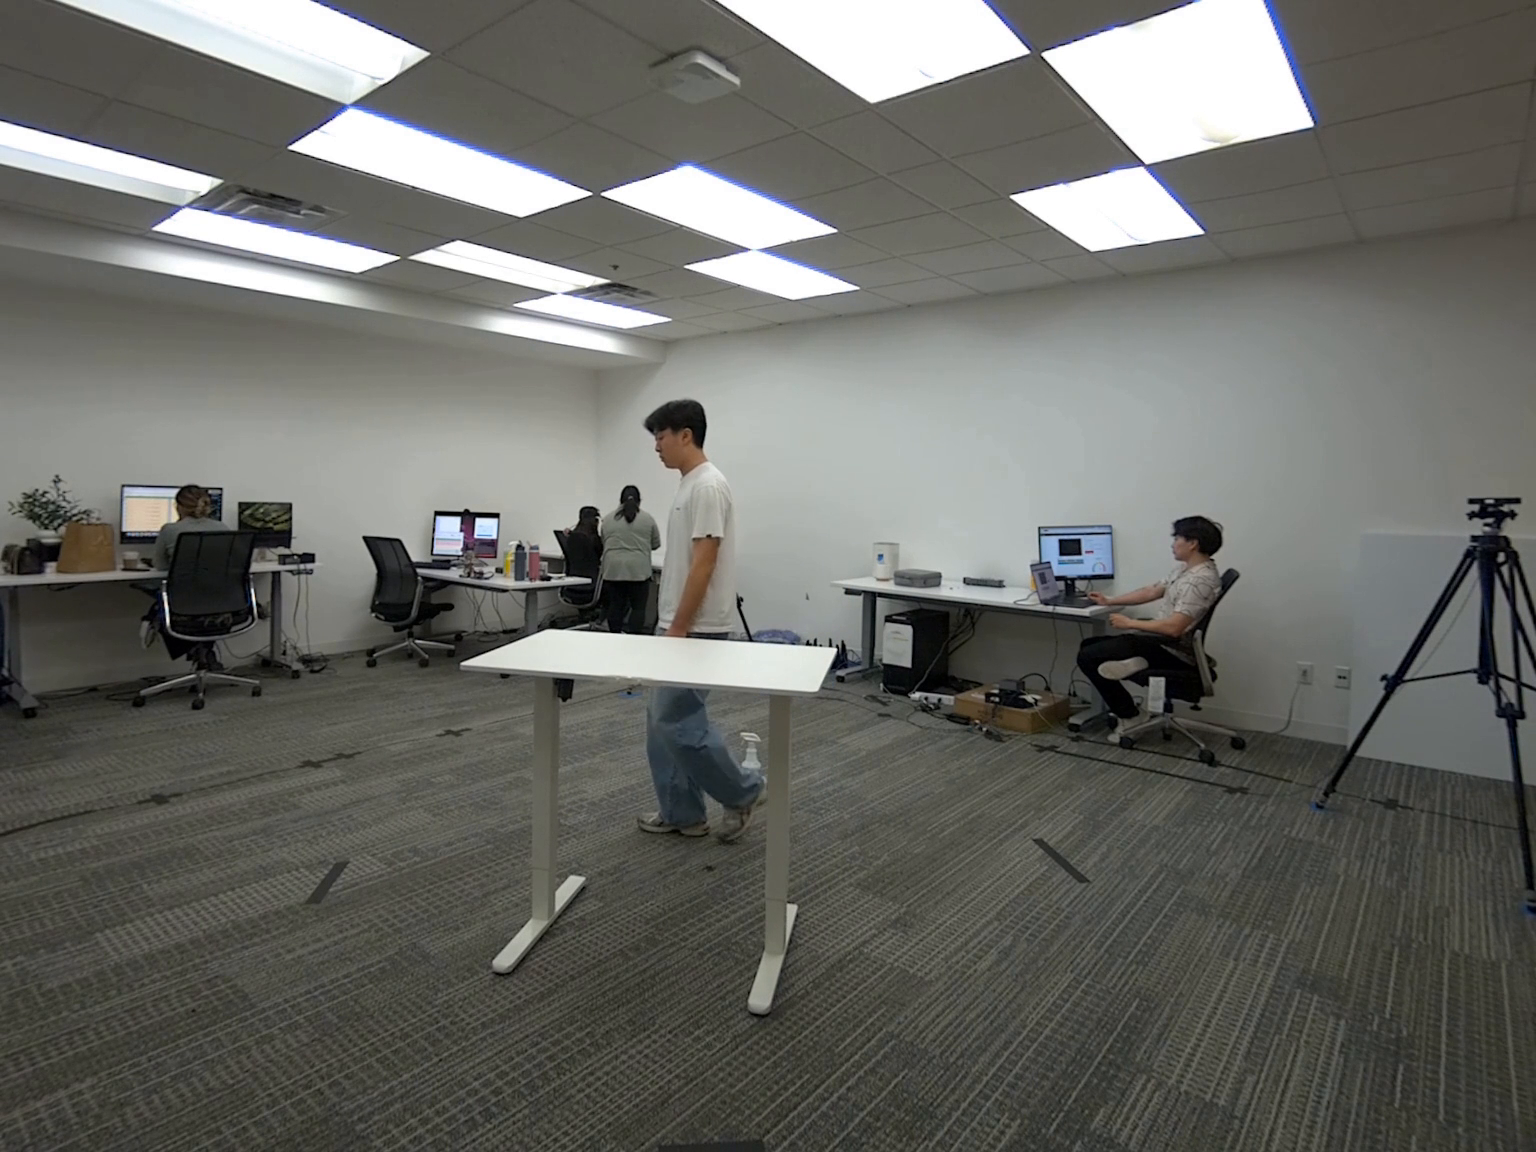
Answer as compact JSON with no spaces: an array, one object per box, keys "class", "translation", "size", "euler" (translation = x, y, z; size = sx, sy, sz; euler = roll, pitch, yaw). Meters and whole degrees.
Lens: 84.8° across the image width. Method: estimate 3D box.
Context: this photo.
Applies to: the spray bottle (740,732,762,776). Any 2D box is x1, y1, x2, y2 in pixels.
[{"class":"spray bottle","translation":[-0.089,0.851,3.799],"size":[0.092,0.295,0.085],"euler":[3,7,28]}]
